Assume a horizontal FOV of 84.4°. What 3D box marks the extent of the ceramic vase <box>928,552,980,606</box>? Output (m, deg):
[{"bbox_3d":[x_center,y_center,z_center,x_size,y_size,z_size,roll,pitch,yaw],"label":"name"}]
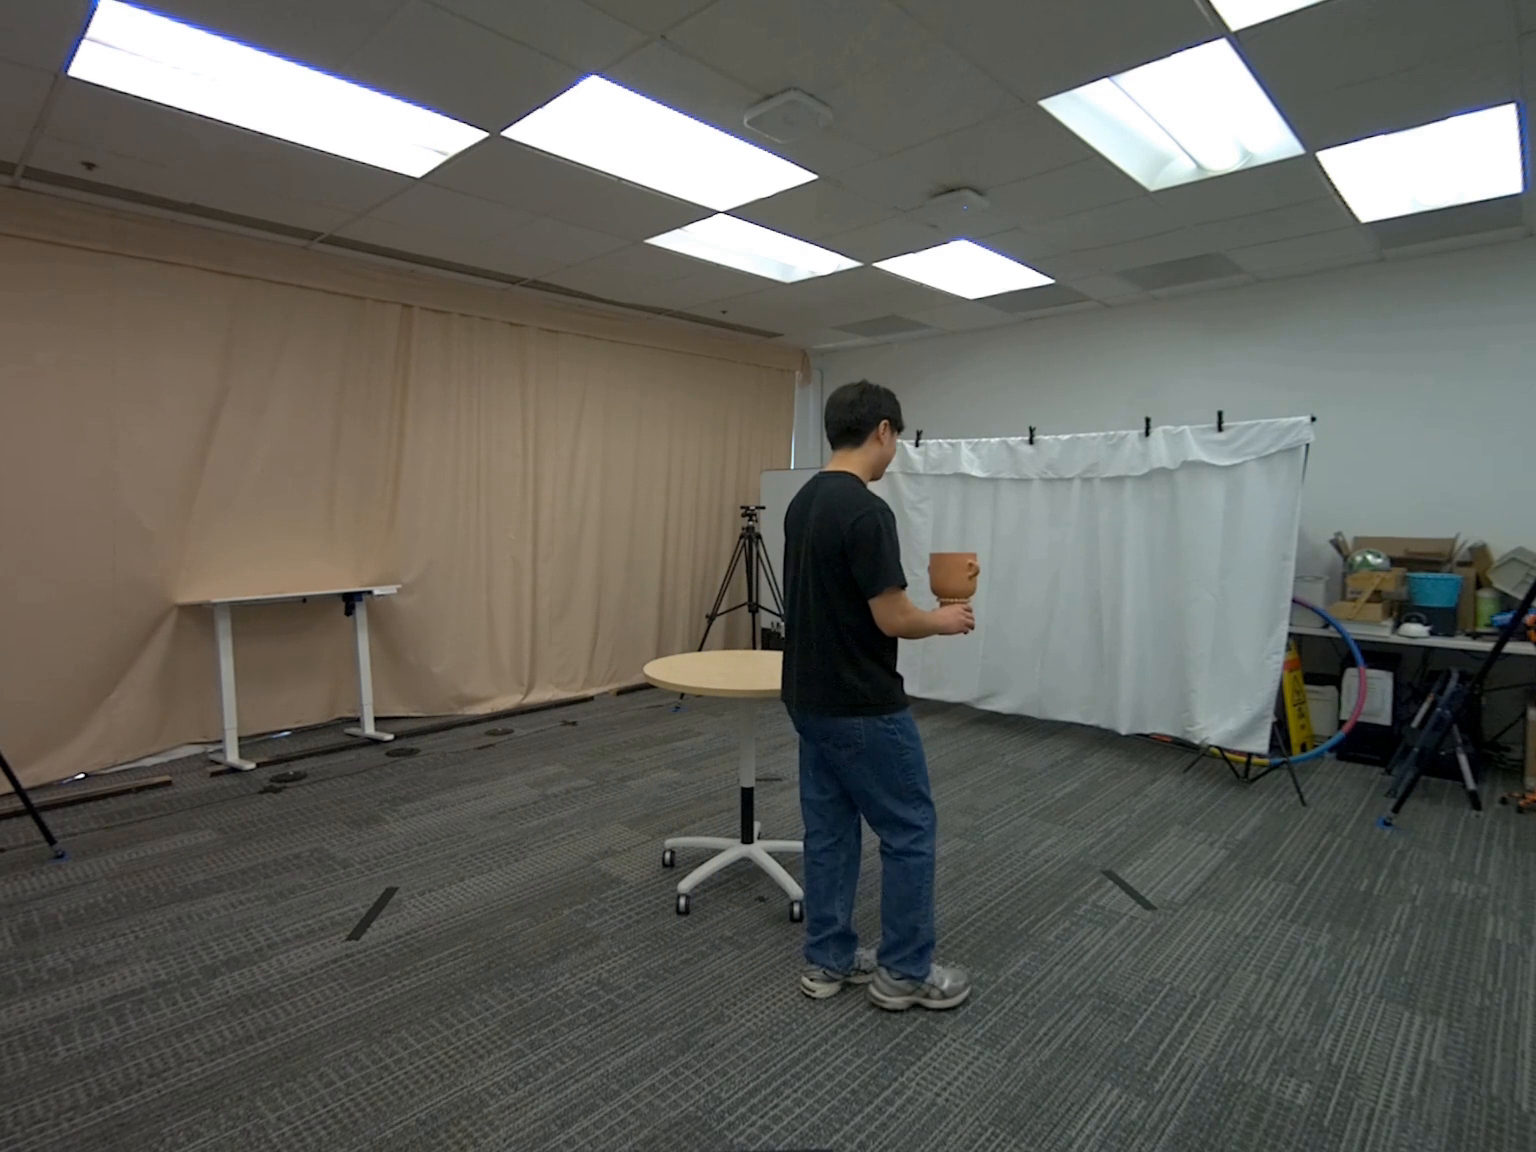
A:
[{"bbox_3d":[0.544,0.044,2.426,0.136,0.220,0.157,-1,0,8],"label":"ceramic vase"}]
